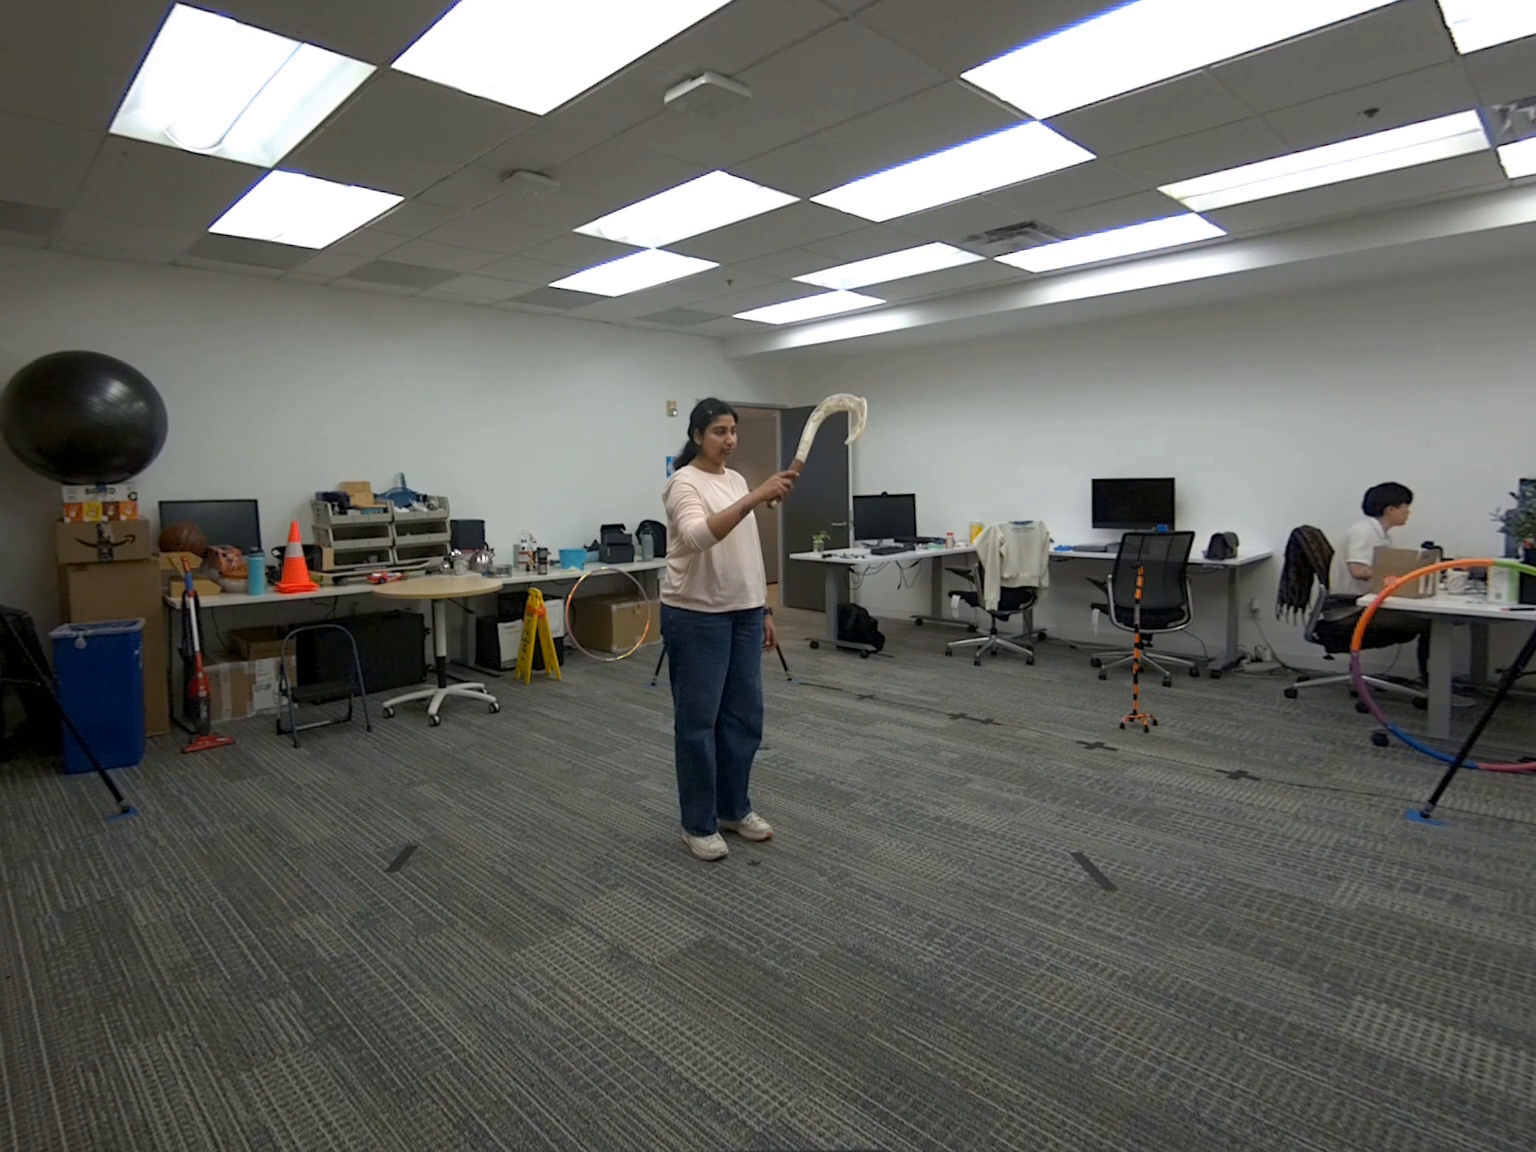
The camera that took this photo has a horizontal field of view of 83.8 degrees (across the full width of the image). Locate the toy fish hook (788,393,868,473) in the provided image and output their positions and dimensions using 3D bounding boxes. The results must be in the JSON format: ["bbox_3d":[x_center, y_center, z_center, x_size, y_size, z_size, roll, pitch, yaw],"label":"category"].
[{"bbox_3d":[0.177,-0.405,2.915,0.233,0.508,0.046,21,-16,42],"label":"toy fish hook"}]
